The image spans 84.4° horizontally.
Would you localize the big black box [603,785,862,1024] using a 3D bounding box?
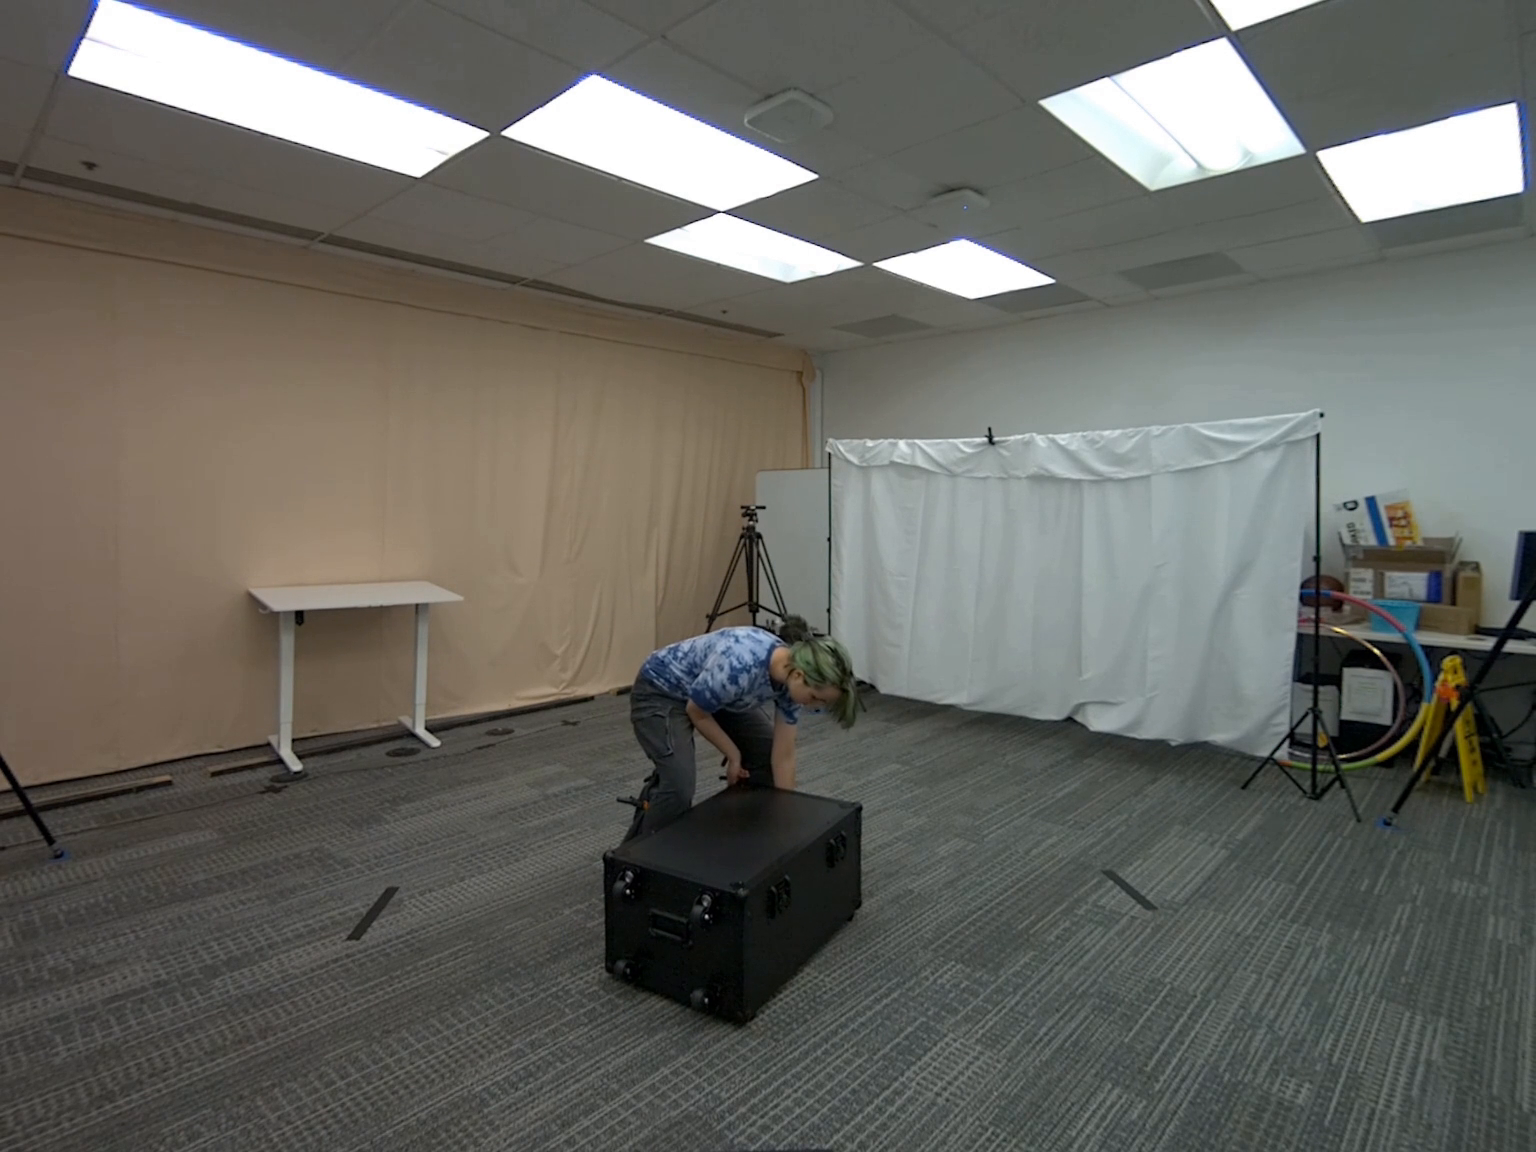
[{"bbox_3d":[-0.095,0.980,2.637,0.537,0.395,0.838,3,5,31],"label":"big black box"}]
